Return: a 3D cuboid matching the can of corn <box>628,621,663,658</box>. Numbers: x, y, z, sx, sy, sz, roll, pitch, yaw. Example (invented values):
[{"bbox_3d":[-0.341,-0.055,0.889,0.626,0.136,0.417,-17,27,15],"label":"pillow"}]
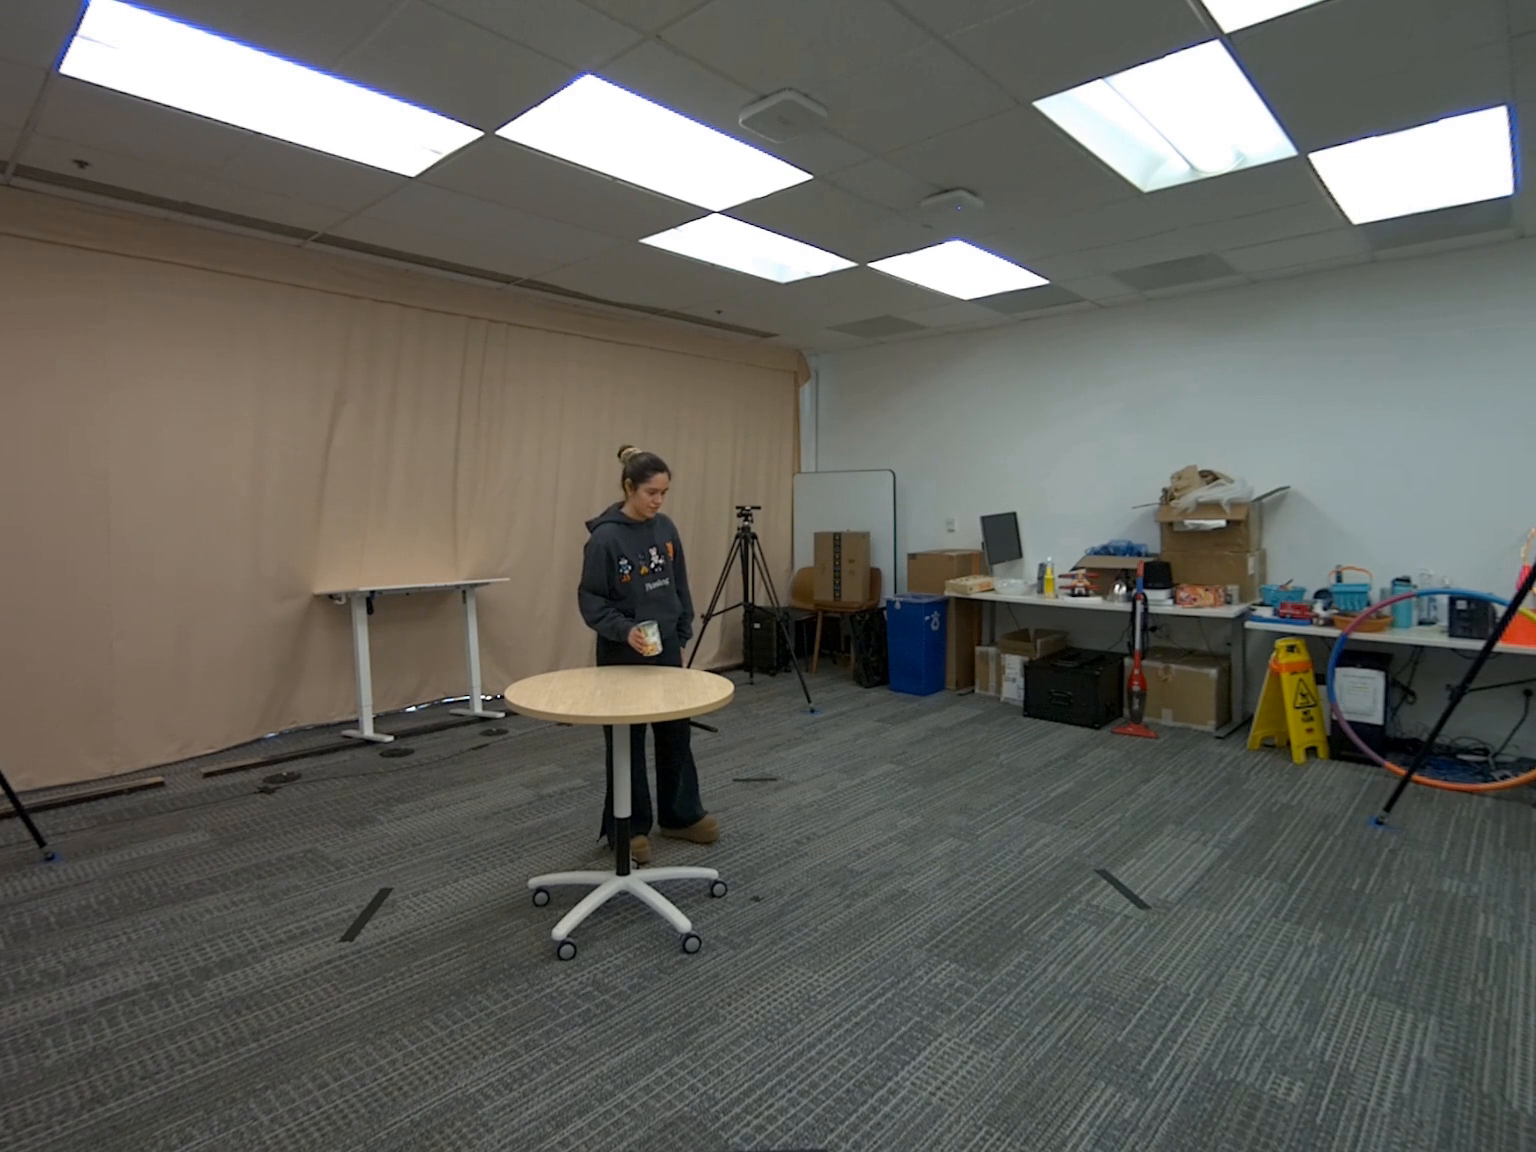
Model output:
[{"bbox_3d":[-0.433,0.231,3.093,0.074,0.110,0.074,-8,5,-1],"label":"can of corn"}]
